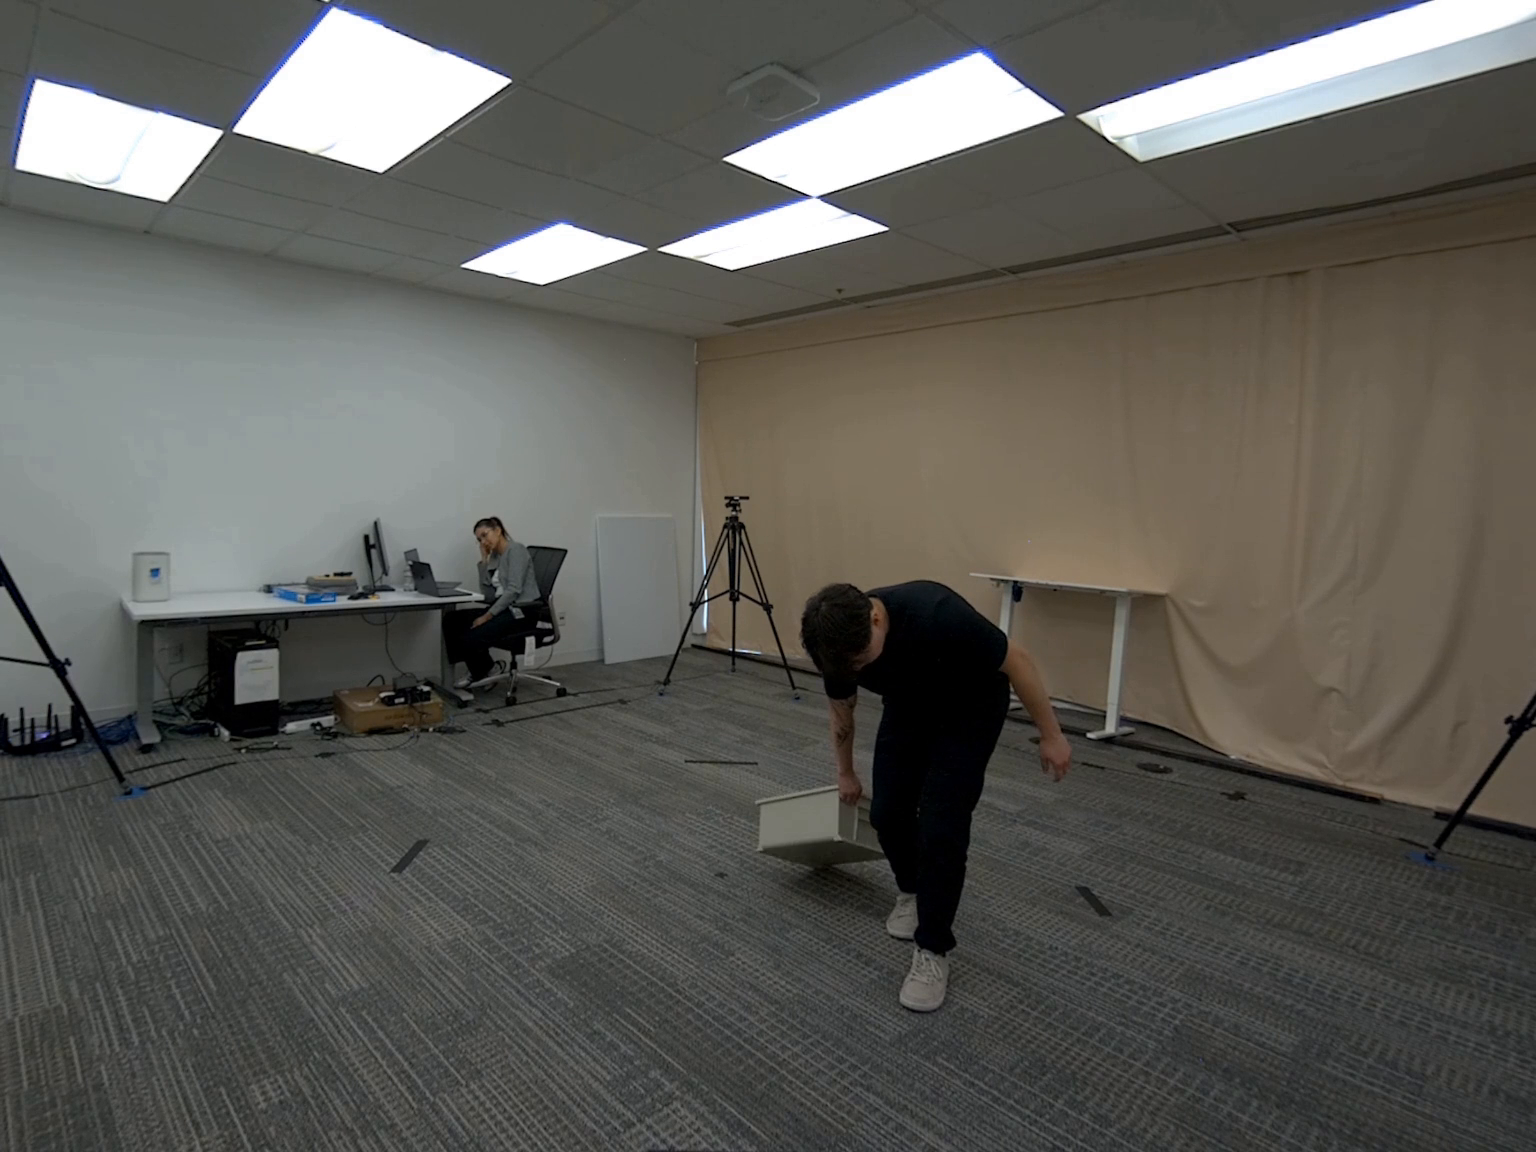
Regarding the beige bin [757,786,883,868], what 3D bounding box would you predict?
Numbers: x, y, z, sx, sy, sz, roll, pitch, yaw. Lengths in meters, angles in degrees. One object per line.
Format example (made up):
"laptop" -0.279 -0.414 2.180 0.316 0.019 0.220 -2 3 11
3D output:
"beige bin" 0.223 0.912 3.012 0.366 0.192 0.427 26 -35 -35
